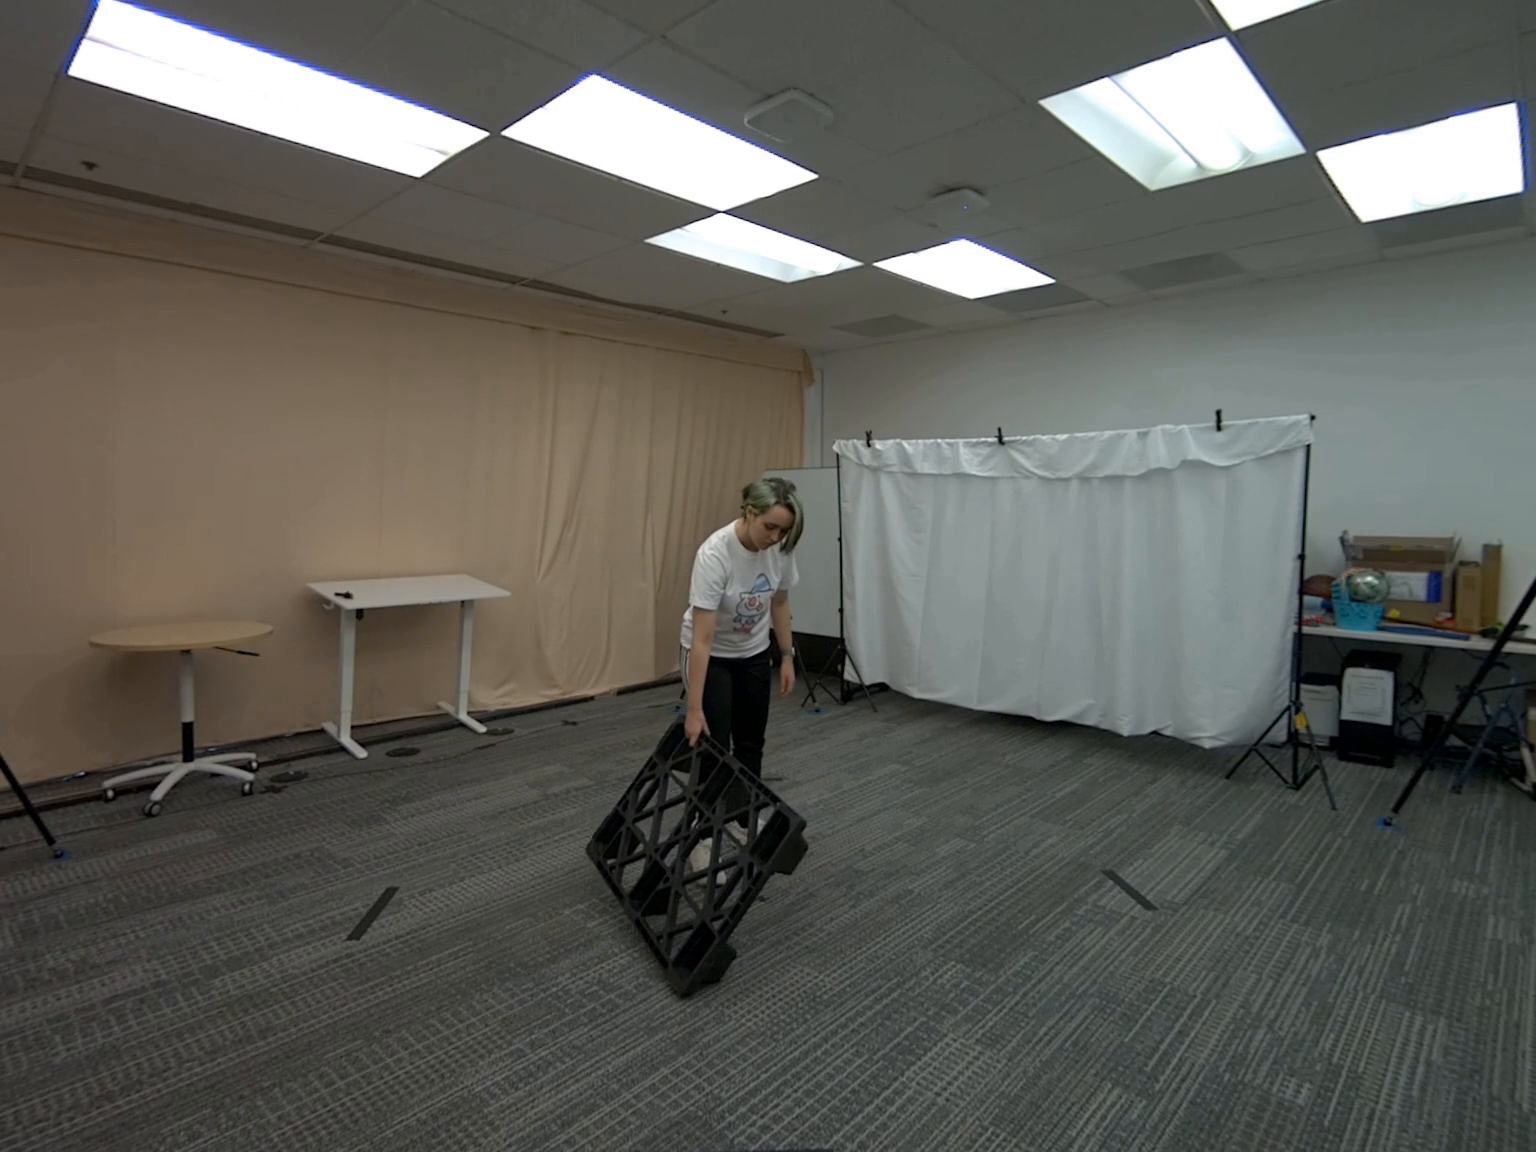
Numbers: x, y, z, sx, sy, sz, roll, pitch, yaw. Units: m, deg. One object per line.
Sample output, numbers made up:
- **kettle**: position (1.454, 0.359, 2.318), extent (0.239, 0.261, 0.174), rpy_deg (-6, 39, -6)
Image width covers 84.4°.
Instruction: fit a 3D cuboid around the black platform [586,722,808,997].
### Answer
- **black platform**: position (-0.240, 0.876, 2.763), extent (0.138, 0.604, 0.833), rpy_deg (39, -8, -33)
